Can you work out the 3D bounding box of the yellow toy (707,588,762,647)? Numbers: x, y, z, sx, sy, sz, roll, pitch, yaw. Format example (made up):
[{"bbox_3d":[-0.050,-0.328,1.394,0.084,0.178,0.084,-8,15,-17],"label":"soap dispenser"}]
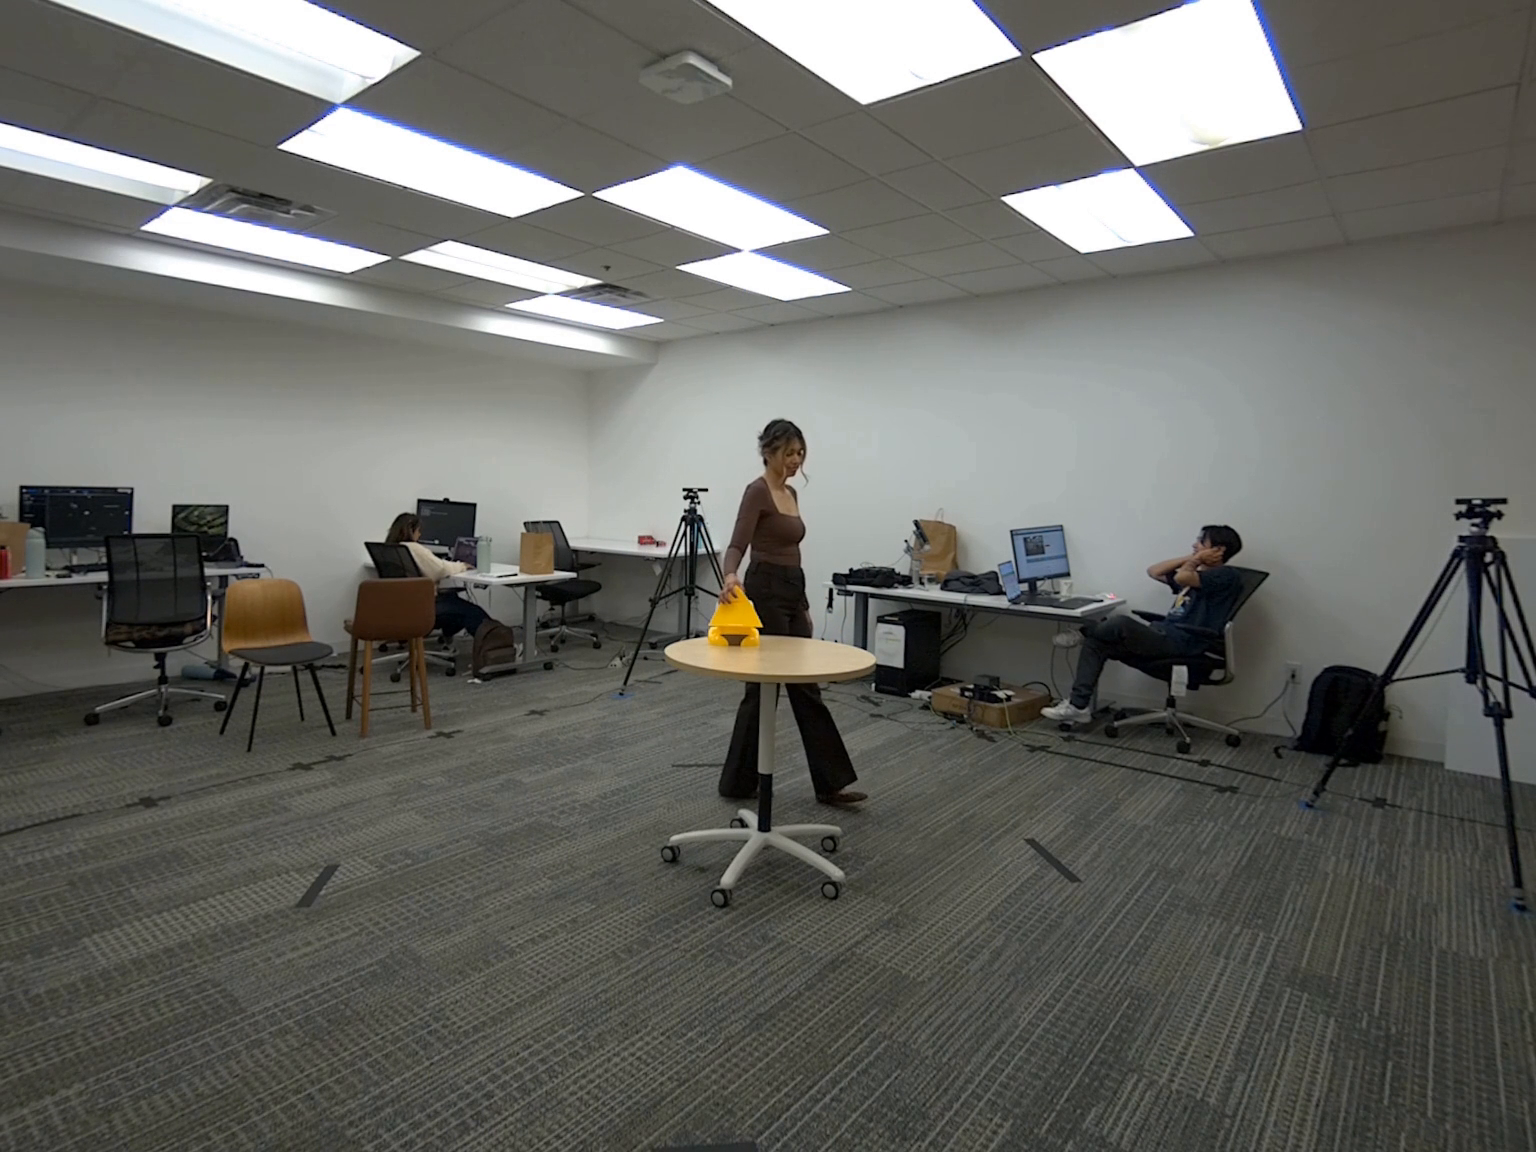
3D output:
[{"bbox_3d":[-0.139,0.142,3.282,0.204,0.230,0.194,1,5,-3],"label":"yellow toy"}]
